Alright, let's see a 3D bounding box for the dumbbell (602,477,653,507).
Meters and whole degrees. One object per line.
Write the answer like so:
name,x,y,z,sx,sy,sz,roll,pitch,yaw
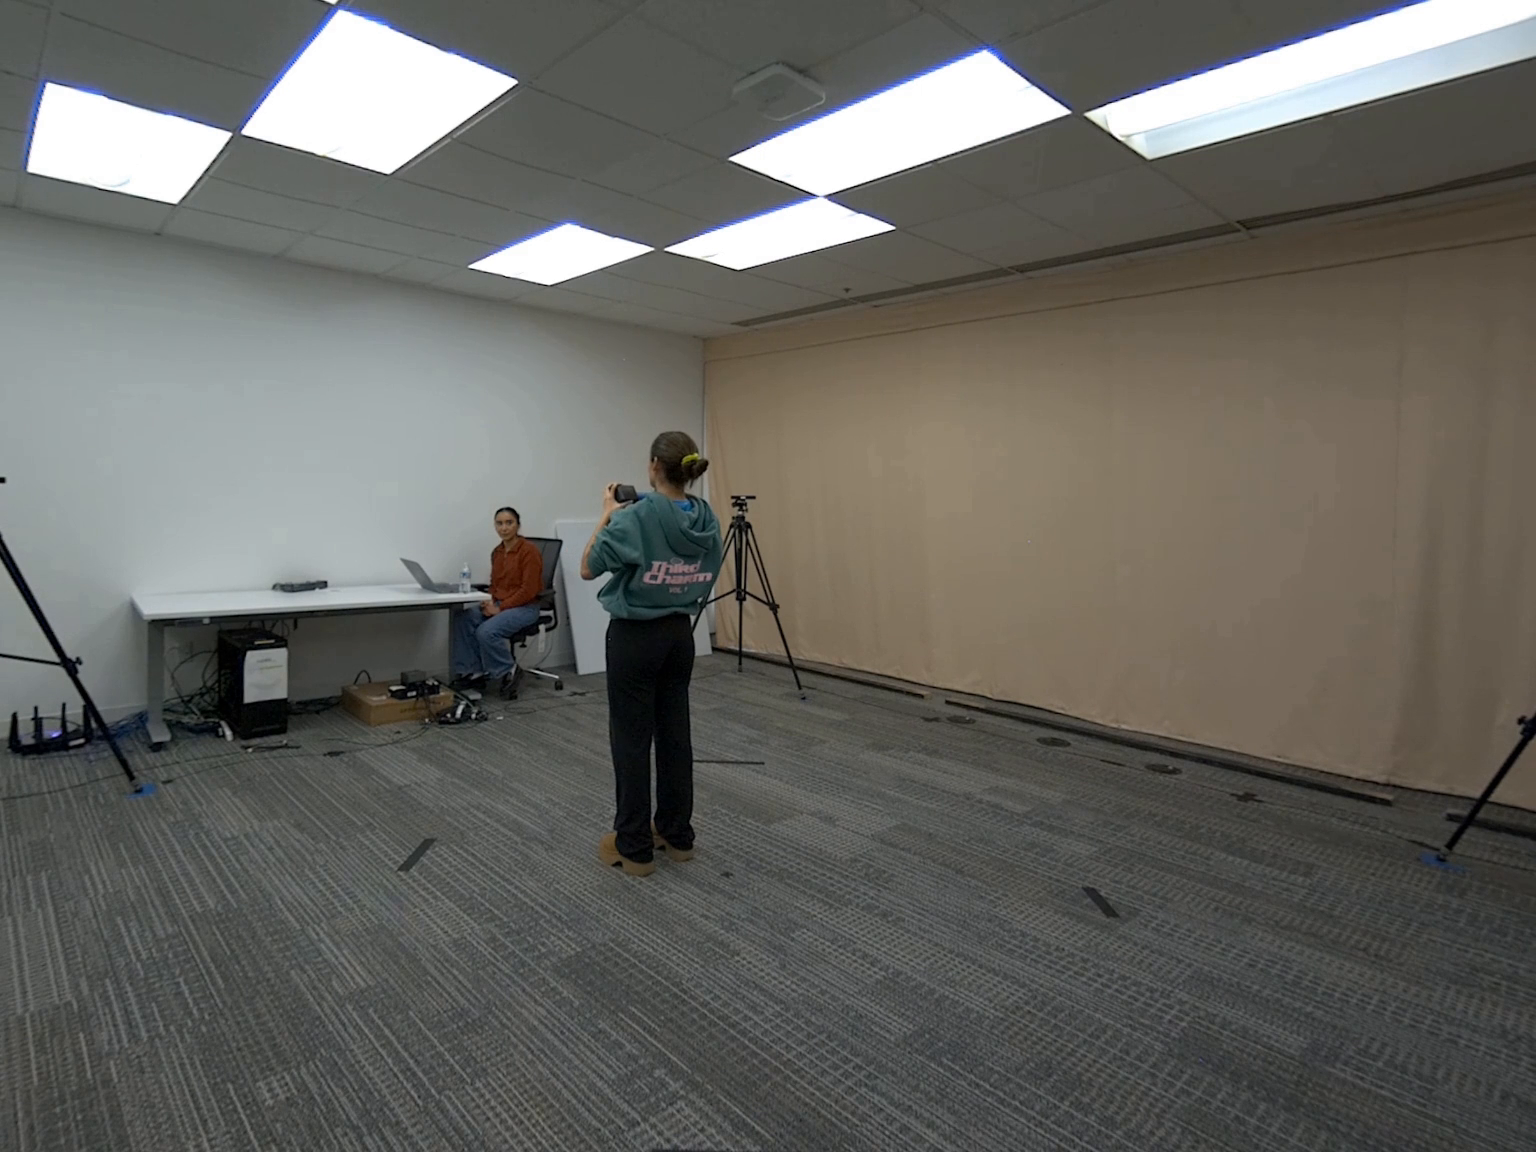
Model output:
dumbbell,-0.472,-0.291,3.241,0.287,0.125,0.109,-1,-26,-43
